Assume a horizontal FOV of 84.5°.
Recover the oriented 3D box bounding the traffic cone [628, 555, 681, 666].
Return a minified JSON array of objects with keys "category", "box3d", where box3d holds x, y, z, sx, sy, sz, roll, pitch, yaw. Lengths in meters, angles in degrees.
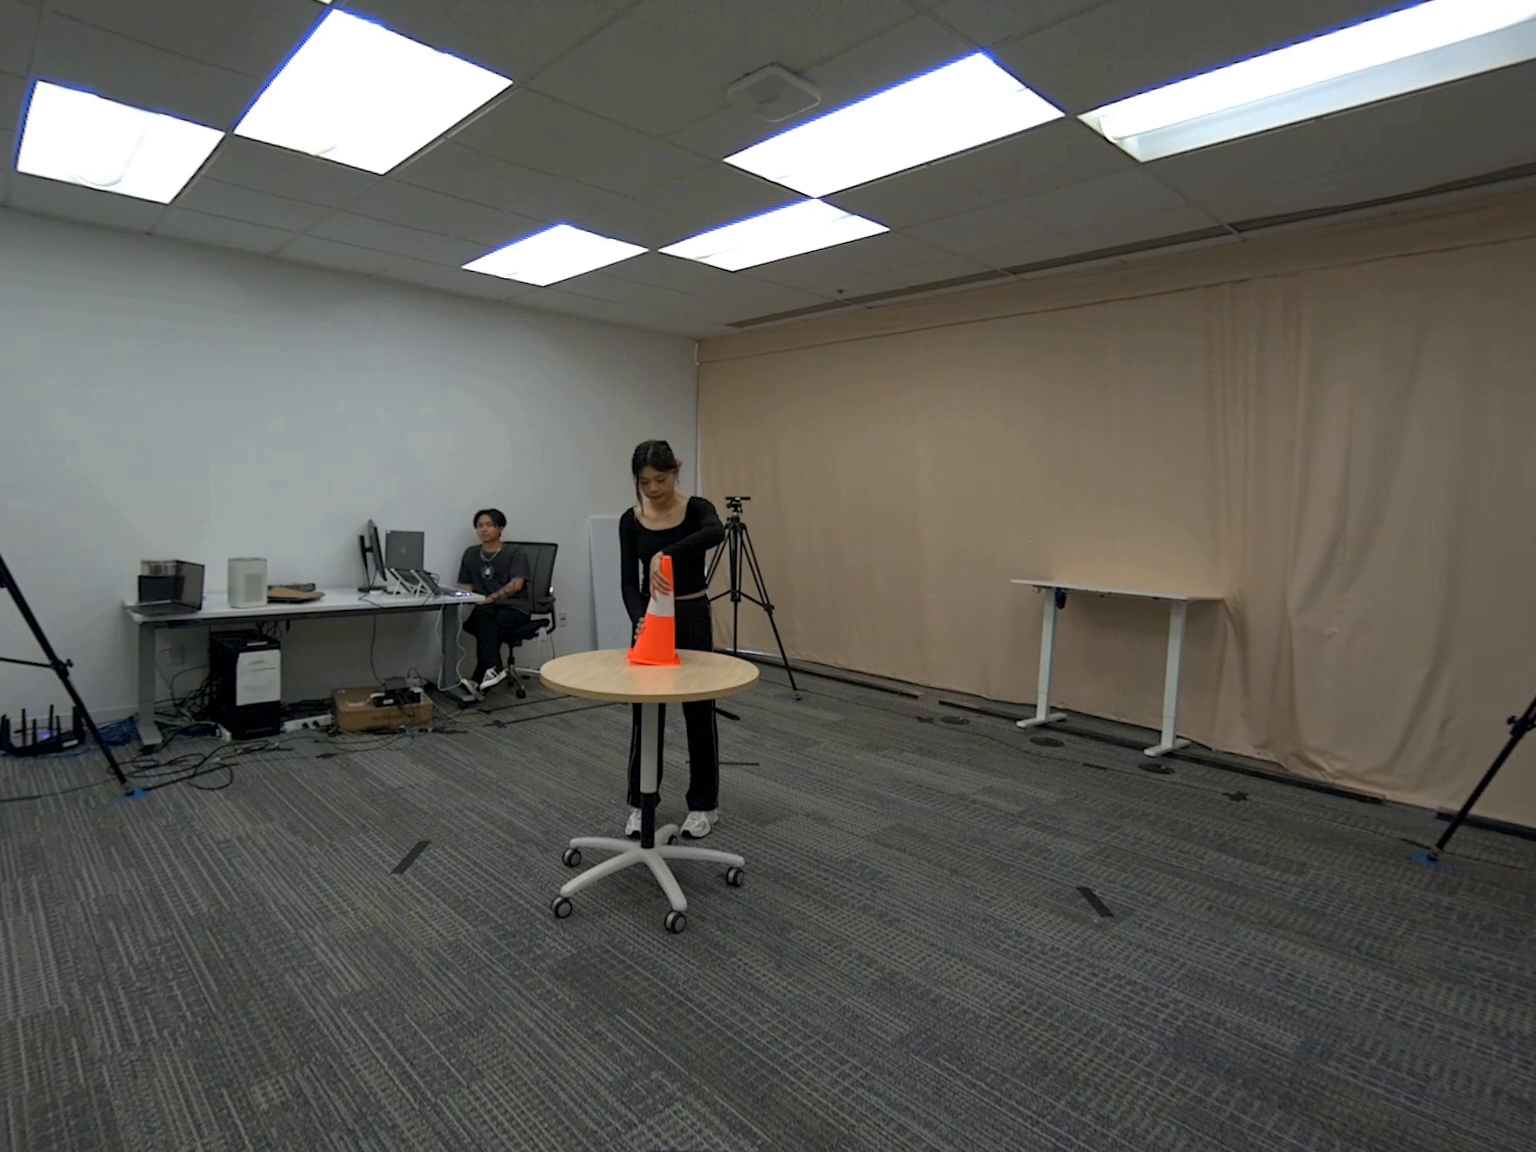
[{"category":"traffic cone","box3d":[-0.415,0.116,3.099,0.203,0.382,0.206,4,6,-10]}]
